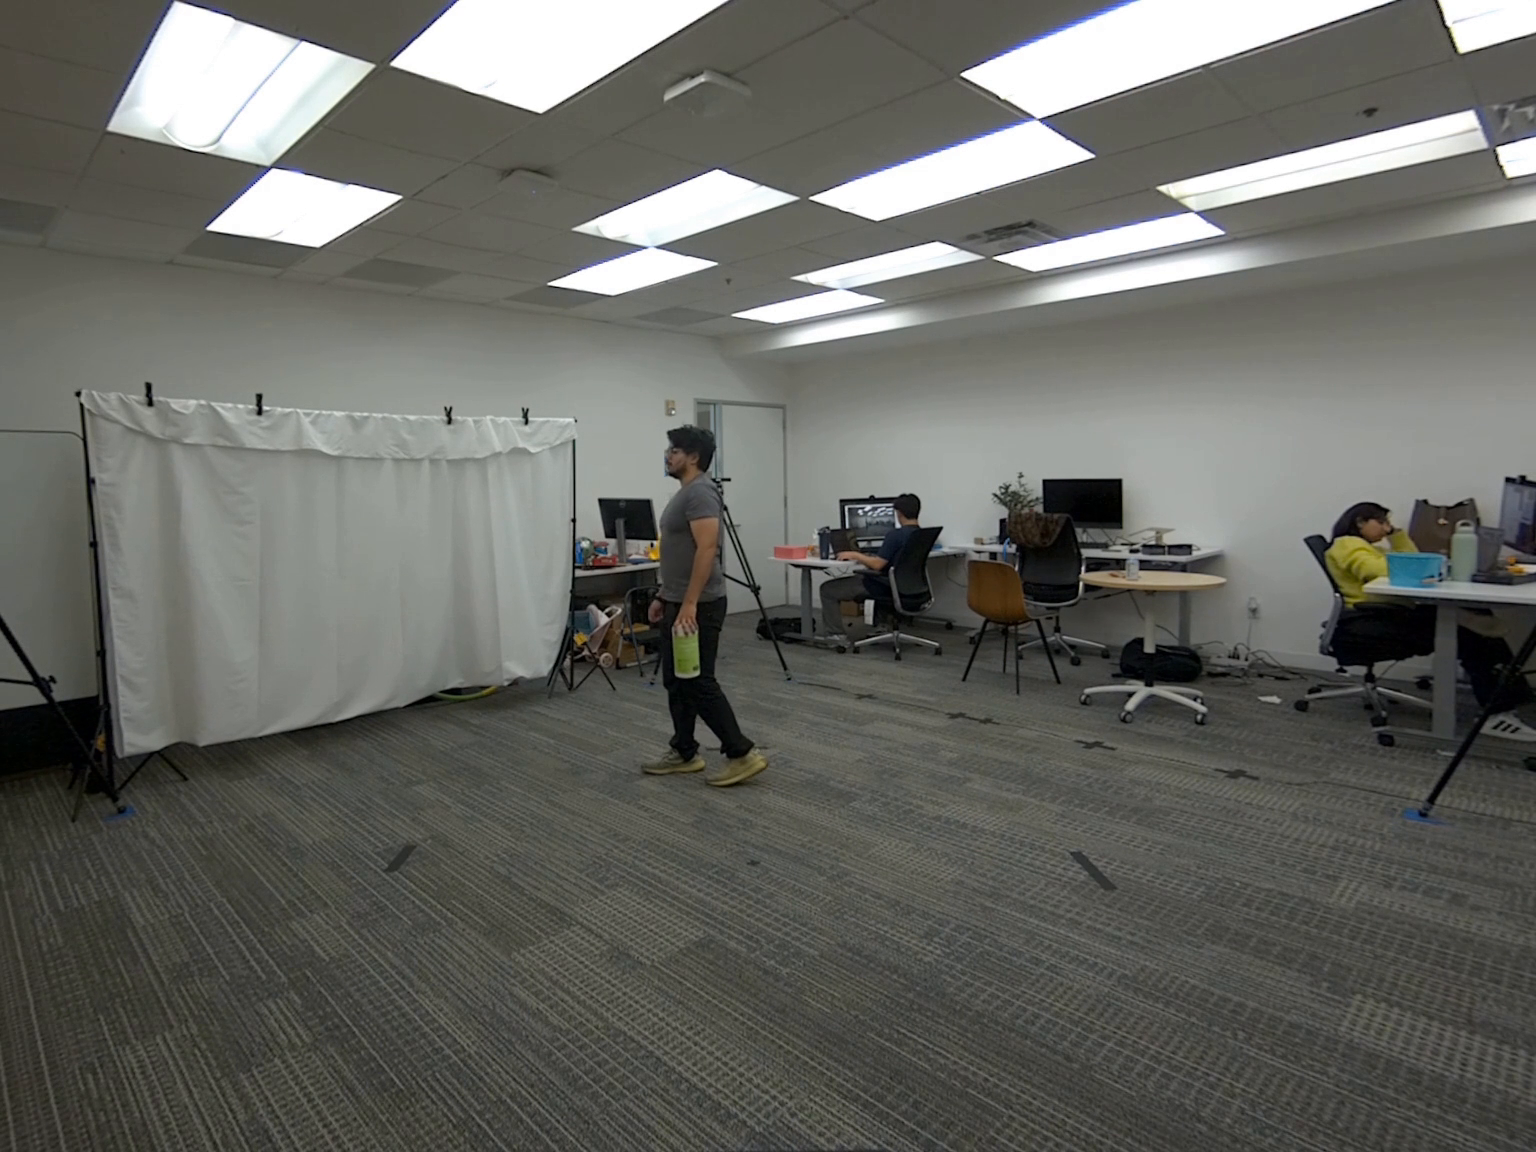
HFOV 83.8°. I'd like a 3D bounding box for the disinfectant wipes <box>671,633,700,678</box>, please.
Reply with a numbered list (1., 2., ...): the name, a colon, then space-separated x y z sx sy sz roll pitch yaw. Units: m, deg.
1. disinfectant wipes: -0.357 0.326 3.674 0.118 0.215 0.119 -1 10 -1
